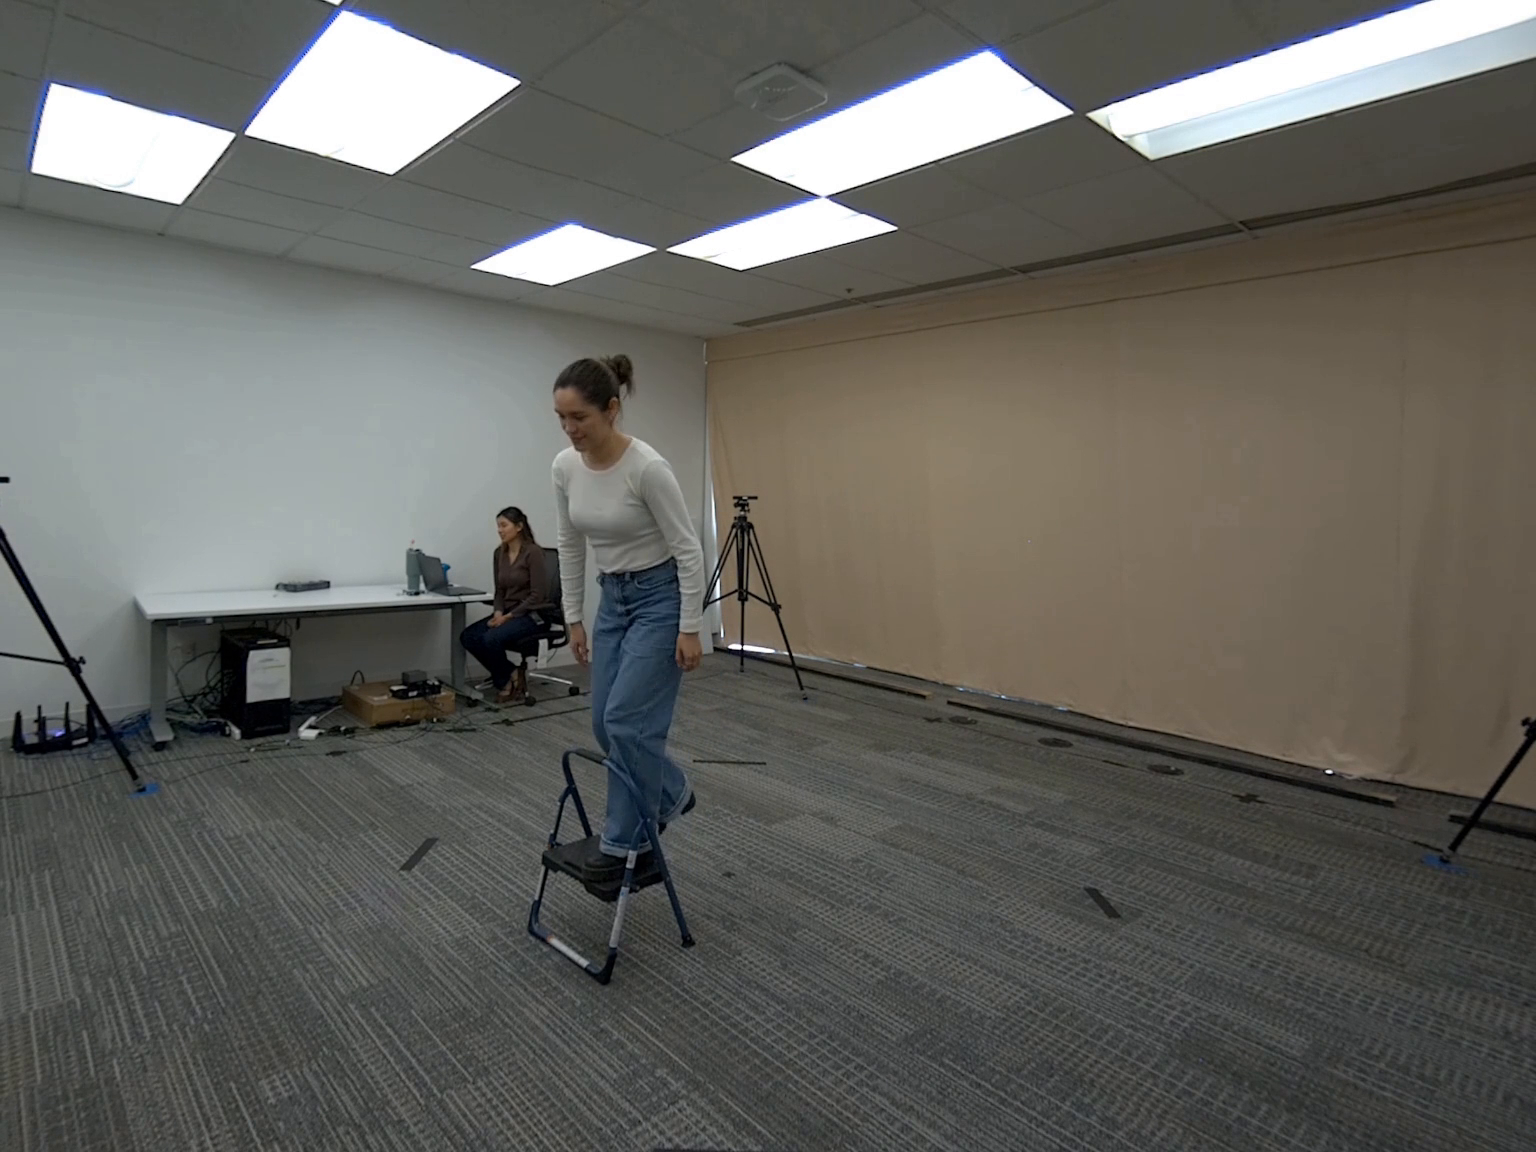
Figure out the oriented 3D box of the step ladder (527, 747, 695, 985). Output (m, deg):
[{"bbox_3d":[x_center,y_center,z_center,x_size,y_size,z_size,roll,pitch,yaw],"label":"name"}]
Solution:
[{"bbox_3d":[-0.501,0.841,2.627,0.441,0.604,0.341,4,5,43],"label":"step ladder"}]
